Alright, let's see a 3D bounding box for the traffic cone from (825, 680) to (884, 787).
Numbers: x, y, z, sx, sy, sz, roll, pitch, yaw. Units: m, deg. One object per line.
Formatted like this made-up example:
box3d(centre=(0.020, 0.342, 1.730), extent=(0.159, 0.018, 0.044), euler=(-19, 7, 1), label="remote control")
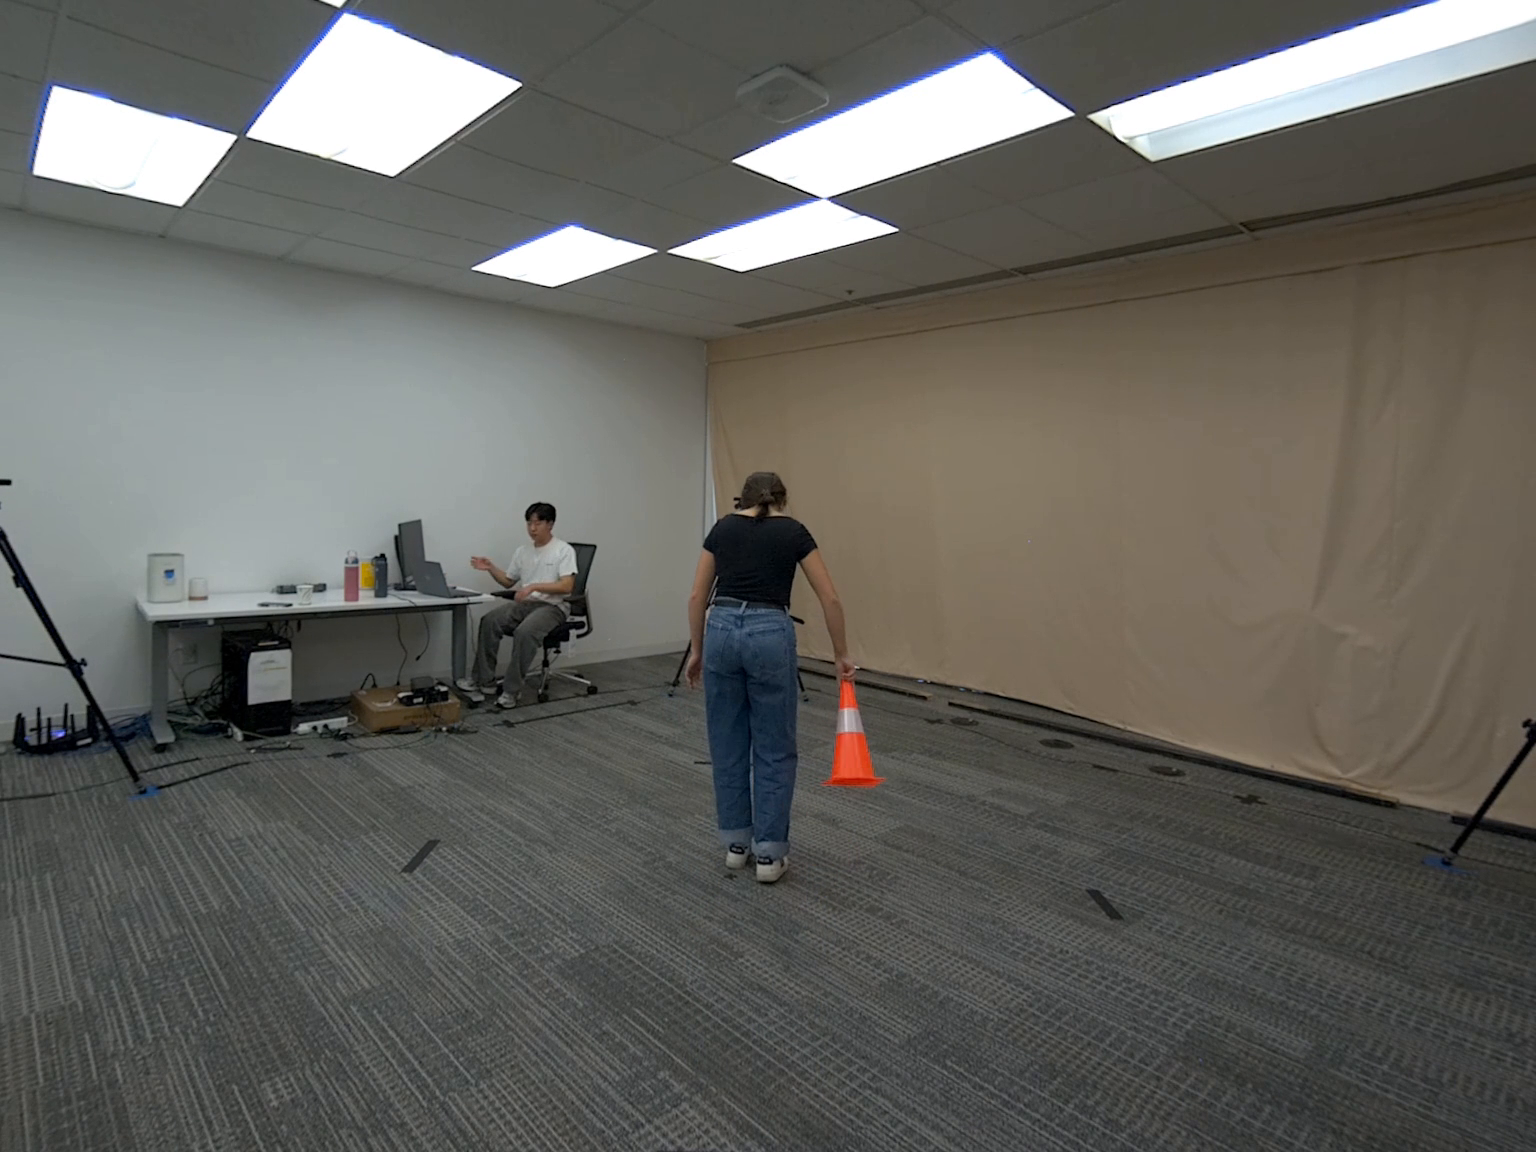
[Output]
box3d(centre=(0.291, 0.570, 3.080), extent=(0.203, 0.389, 0.202), euler=(11, -23, -10), label="traffic cone")
